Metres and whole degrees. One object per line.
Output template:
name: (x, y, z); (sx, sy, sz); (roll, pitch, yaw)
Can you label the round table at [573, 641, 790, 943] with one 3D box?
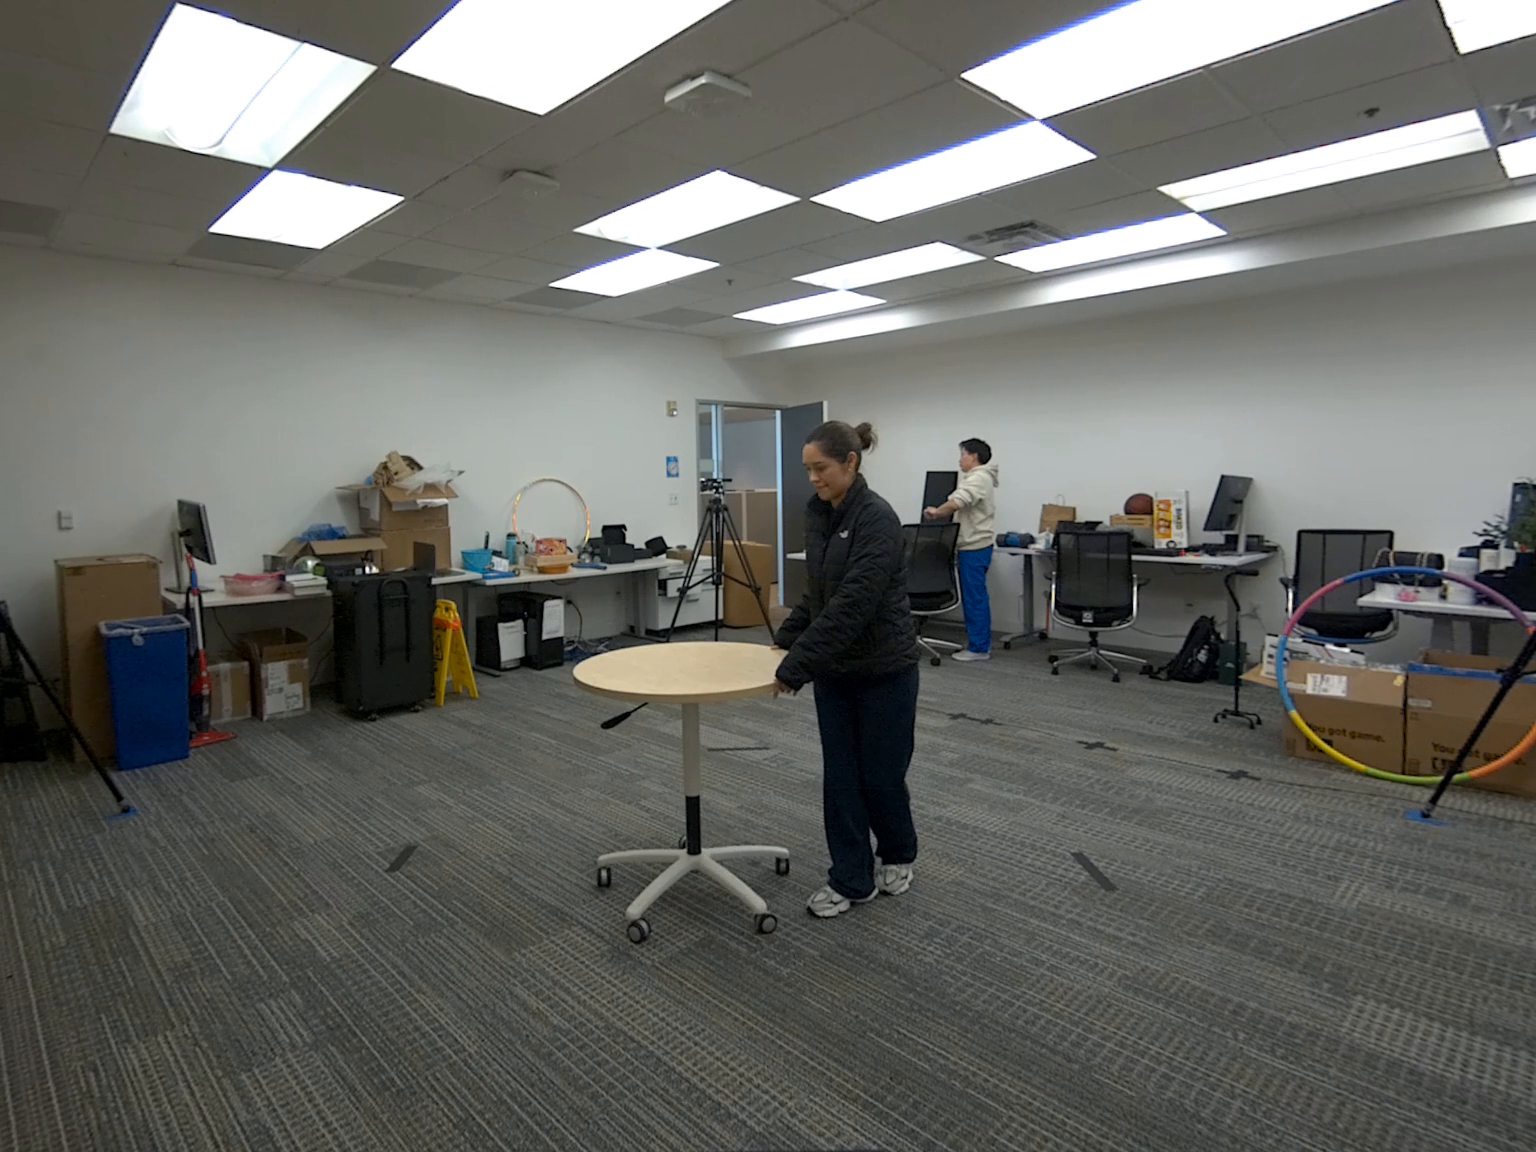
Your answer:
round table: (-0.263, 0.680, 2.890); (0.784, 0.783, 0.789); (-1, 5, -2)
